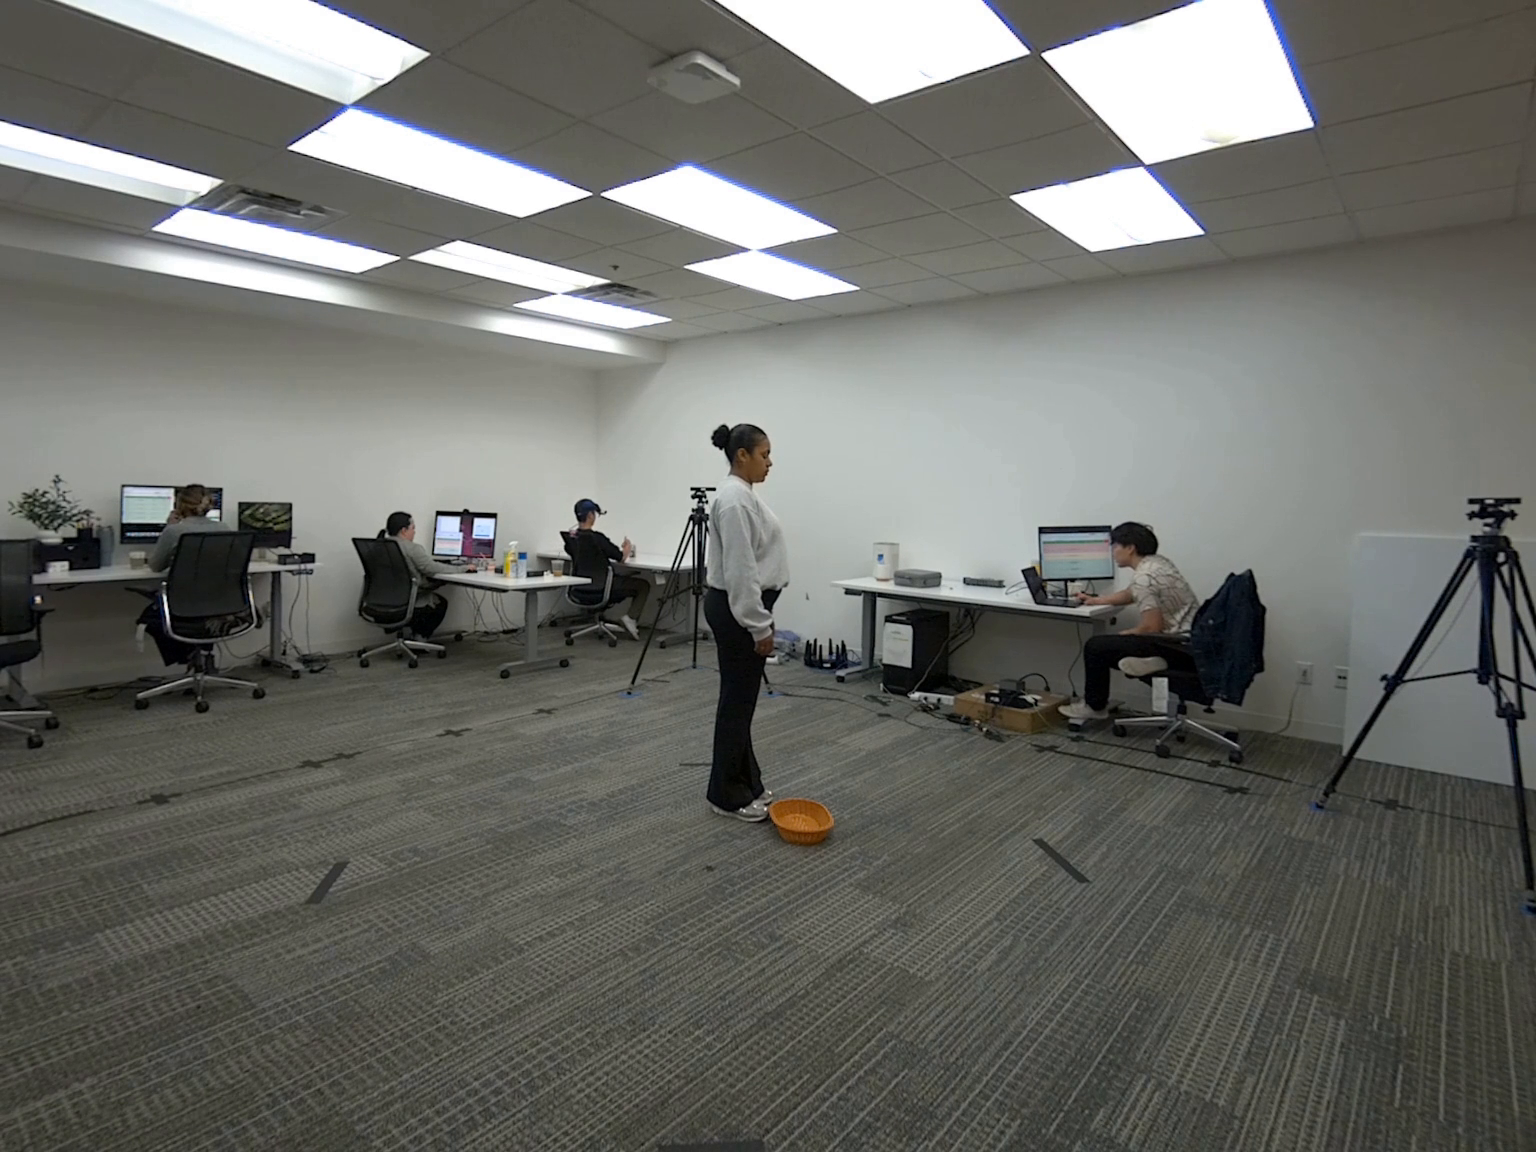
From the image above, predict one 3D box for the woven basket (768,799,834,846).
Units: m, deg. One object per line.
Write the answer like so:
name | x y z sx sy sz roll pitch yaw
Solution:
woven basket | 0.126 0.997 3.471 0.251 0.073 0.353 0 6 -5
